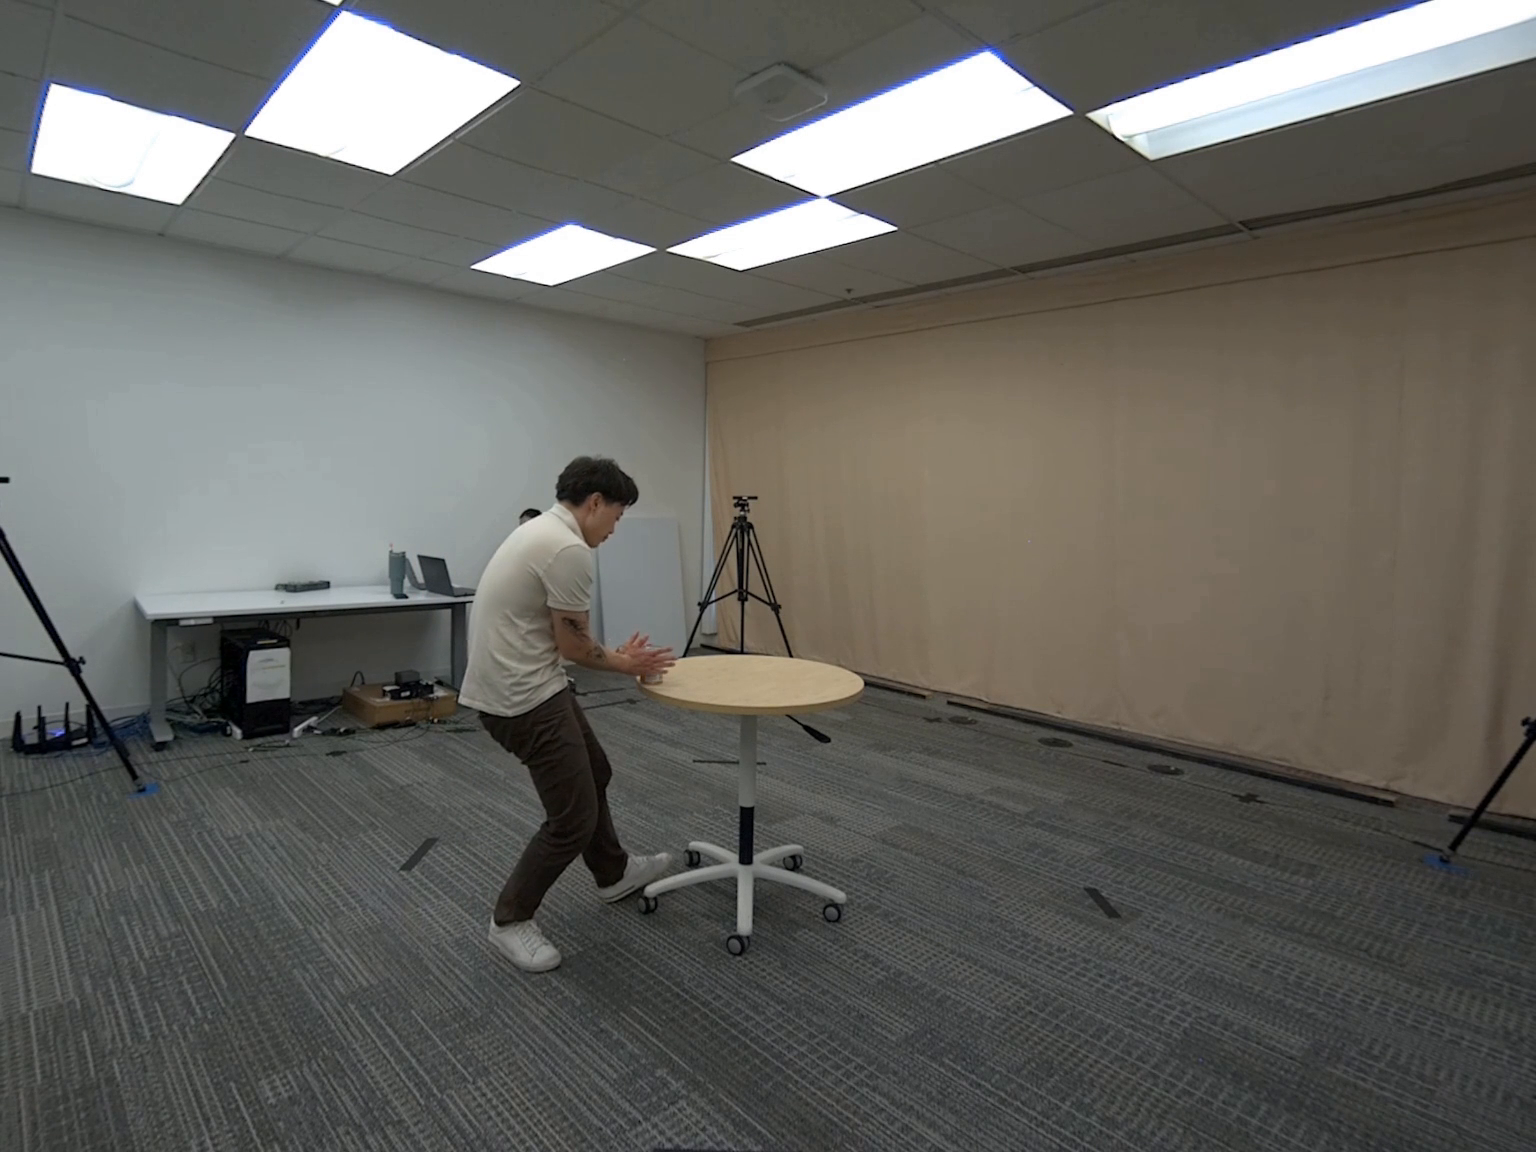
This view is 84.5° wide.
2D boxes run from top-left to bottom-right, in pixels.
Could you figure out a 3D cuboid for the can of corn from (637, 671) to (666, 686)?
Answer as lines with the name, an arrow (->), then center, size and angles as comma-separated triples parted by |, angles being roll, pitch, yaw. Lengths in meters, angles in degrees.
can of corn -> -0.390, 0.297, 2.735 | 0.074, 0.110, 0.074 | -1, 7, -1
